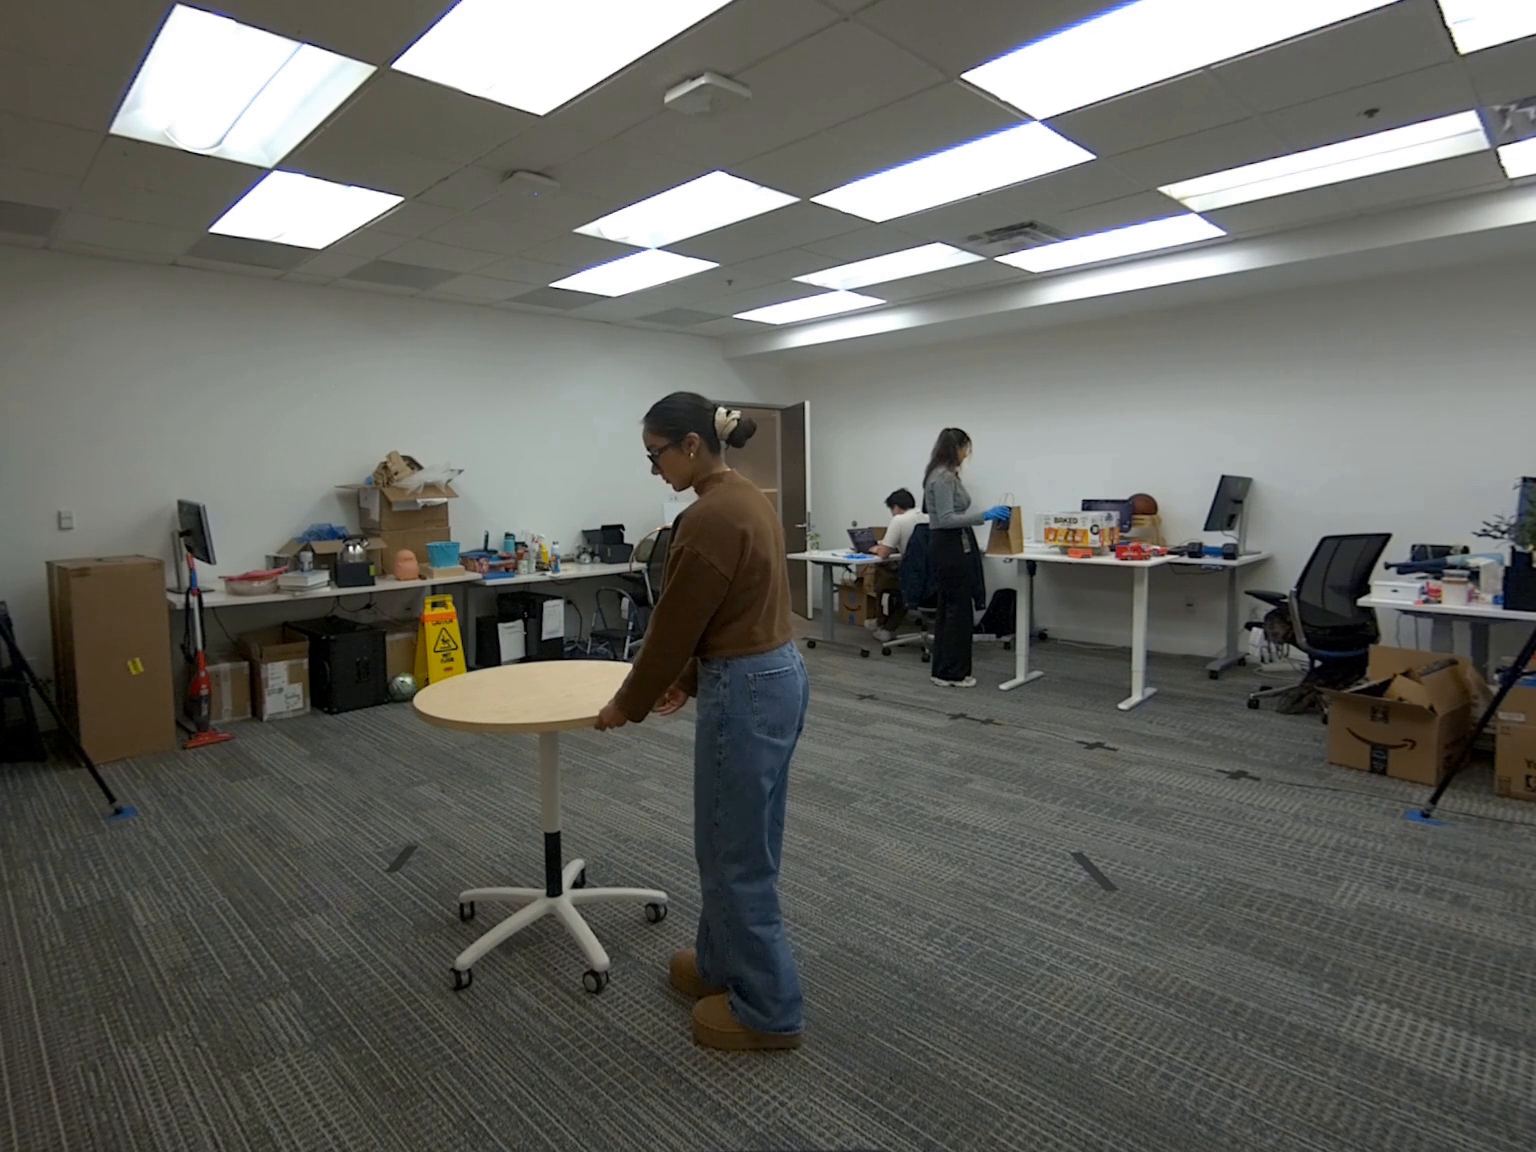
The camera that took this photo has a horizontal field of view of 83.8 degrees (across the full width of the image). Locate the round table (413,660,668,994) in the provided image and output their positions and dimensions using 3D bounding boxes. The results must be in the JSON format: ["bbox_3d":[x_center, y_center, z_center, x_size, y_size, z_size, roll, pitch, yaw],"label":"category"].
[{"bbox_3d":[-0.651,0.728,2.600,0.763,0.790,0.768,-1,5,-2],"label":"round table"}]
